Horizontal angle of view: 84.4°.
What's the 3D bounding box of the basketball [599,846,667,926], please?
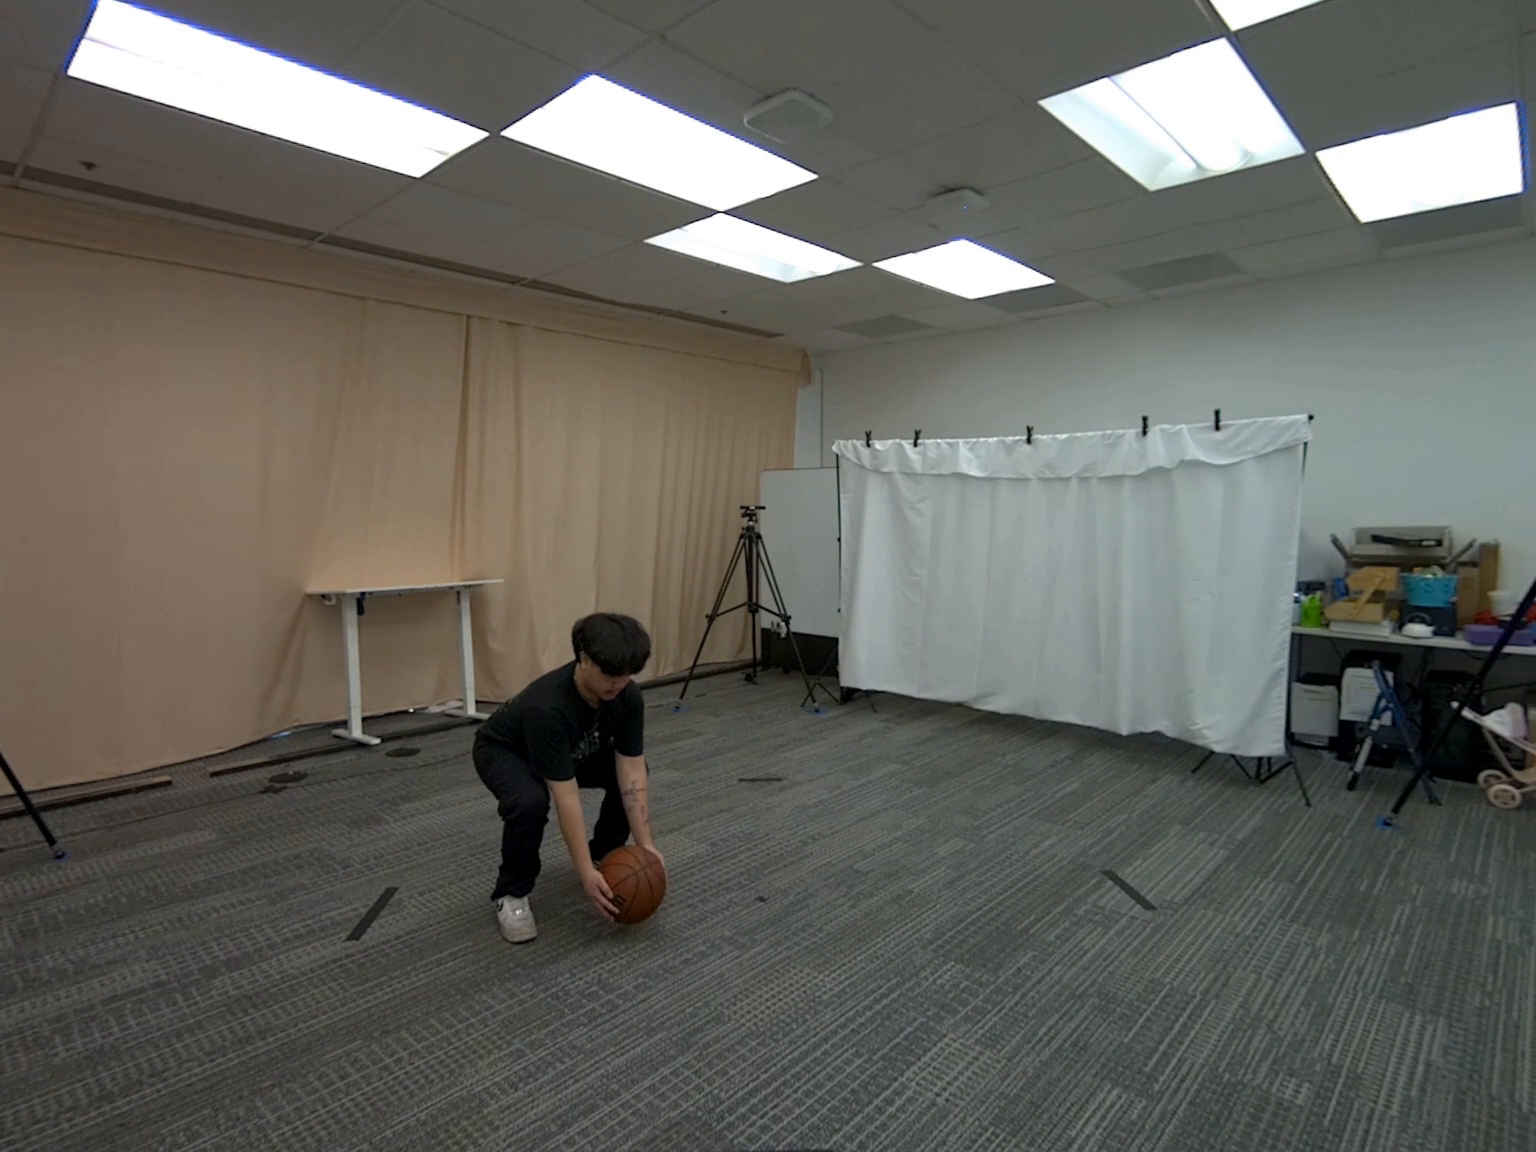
[{"bbox_3d":[-0.458,1.003,2.726,0.236,0.235,0.237,0,4,-2],"label":"basketball"}]
